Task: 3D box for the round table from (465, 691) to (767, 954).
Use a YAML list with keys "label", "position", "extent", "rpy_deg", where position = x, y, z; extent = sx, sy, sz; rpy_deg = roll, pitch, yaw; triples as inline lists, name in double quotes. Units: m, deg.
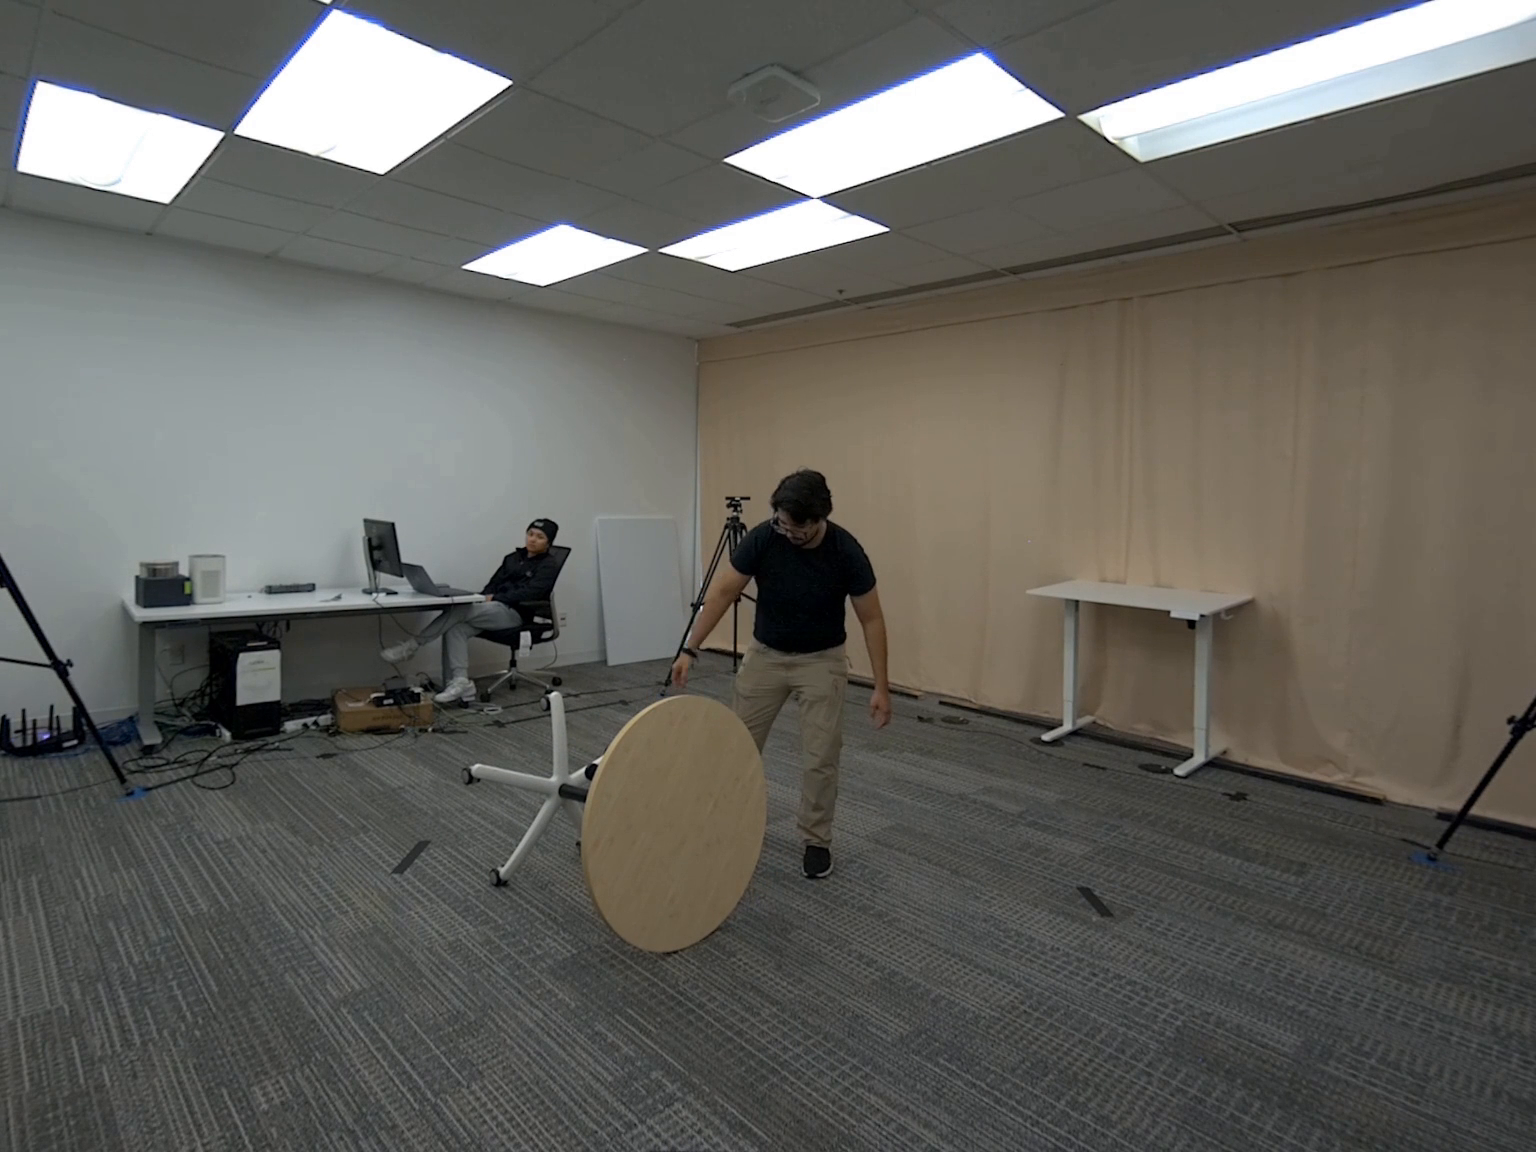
- label: "round table"
  position: [-0.564, 0.769, 2.898]
  extent: [0.804, 0.785, 0.767]
  rpy_deg: [-4, 0, 42]
